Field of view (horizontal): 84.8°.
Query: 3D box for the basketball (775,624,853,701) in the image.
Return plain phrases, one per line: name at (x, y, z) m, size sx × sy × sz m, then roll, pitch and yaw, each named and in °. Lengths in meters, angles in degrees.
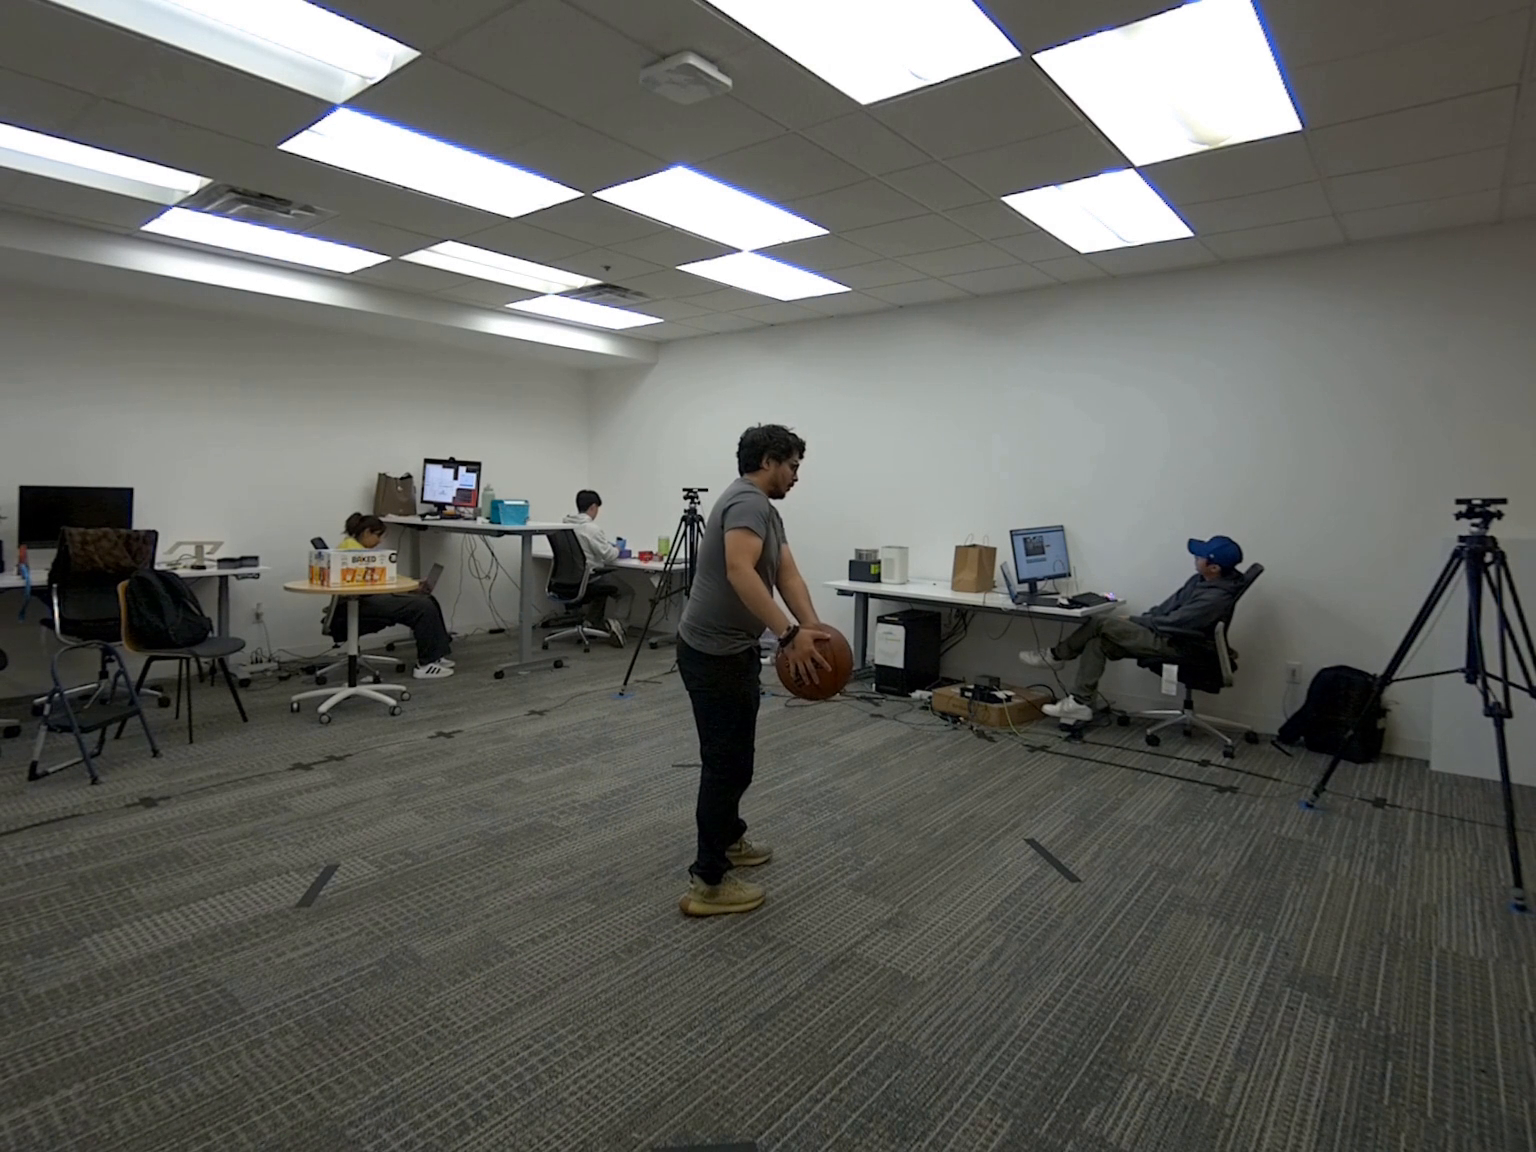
basketball at (0.134, 0.253, 2.597) m, size 0.235 × 0.235 × 0.237 m, roll 1°, pitch 4°, yaw -2°
